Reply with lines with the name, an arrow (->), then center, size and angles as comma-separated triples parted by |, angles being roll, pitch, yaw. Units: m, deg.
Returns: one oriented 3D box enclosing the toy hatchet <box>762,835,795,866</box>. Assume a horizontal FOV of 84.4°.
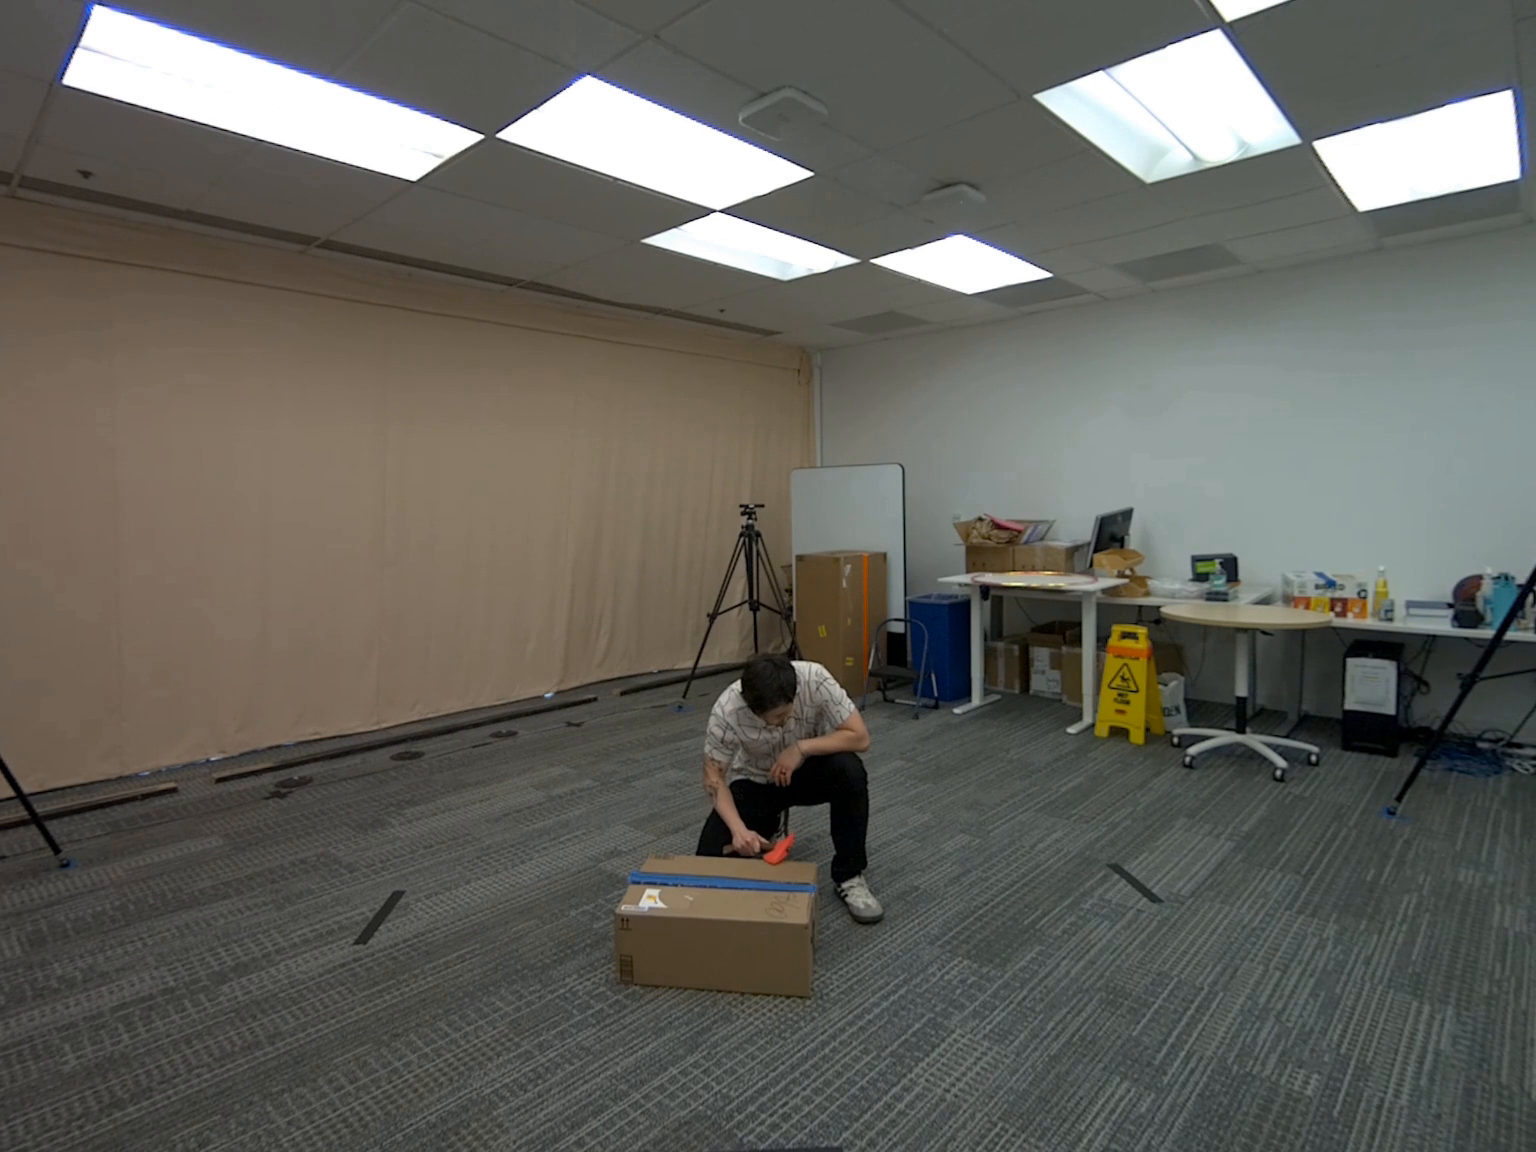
toy hatchet -> -0.035, 0.926, 2.830 | 0.275, 0.029, 0.131 | -19, 22, 23
